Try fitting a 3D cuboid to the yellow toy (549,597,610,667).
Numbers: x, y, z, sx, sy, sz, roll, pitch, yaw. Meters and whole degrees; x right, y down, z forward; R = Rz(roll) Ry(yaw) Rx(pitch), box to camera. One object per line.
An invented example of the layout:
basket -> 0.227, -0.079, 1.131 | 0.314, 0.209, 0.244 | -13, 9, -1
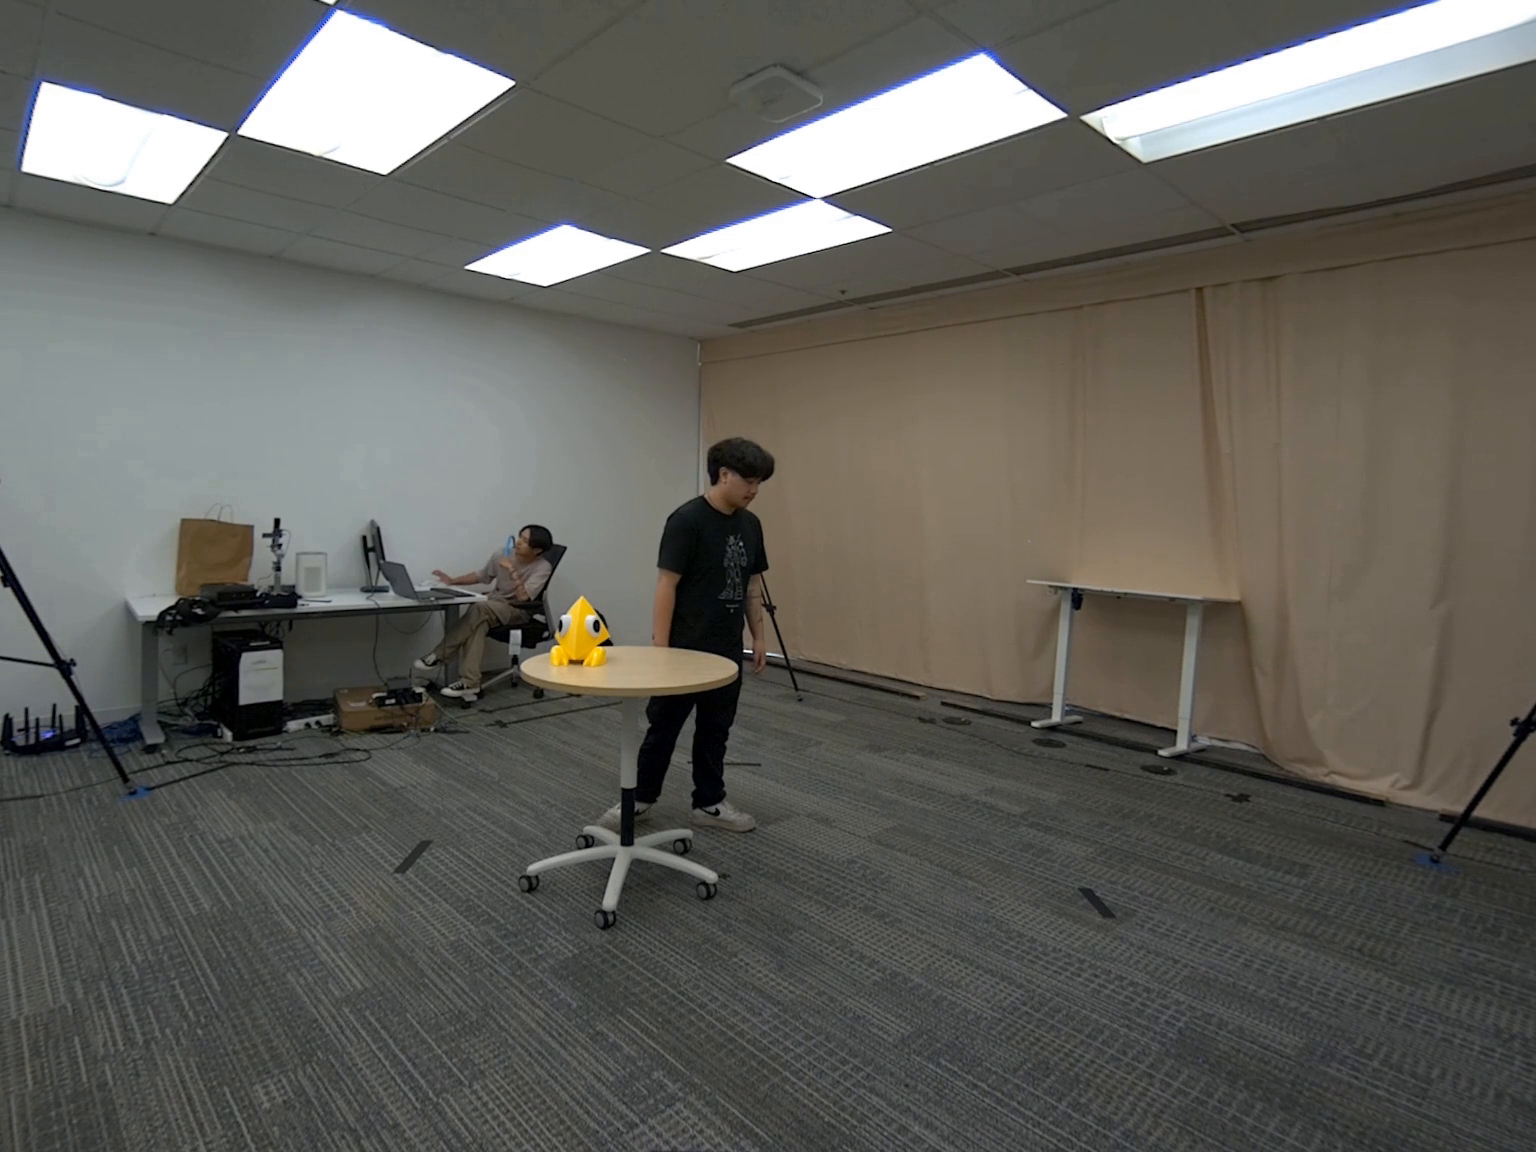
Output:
yellow toy -> -0.688, 0.194, 3.022 | 0.204, 0.230, 0.194 | 2, 3, -3
